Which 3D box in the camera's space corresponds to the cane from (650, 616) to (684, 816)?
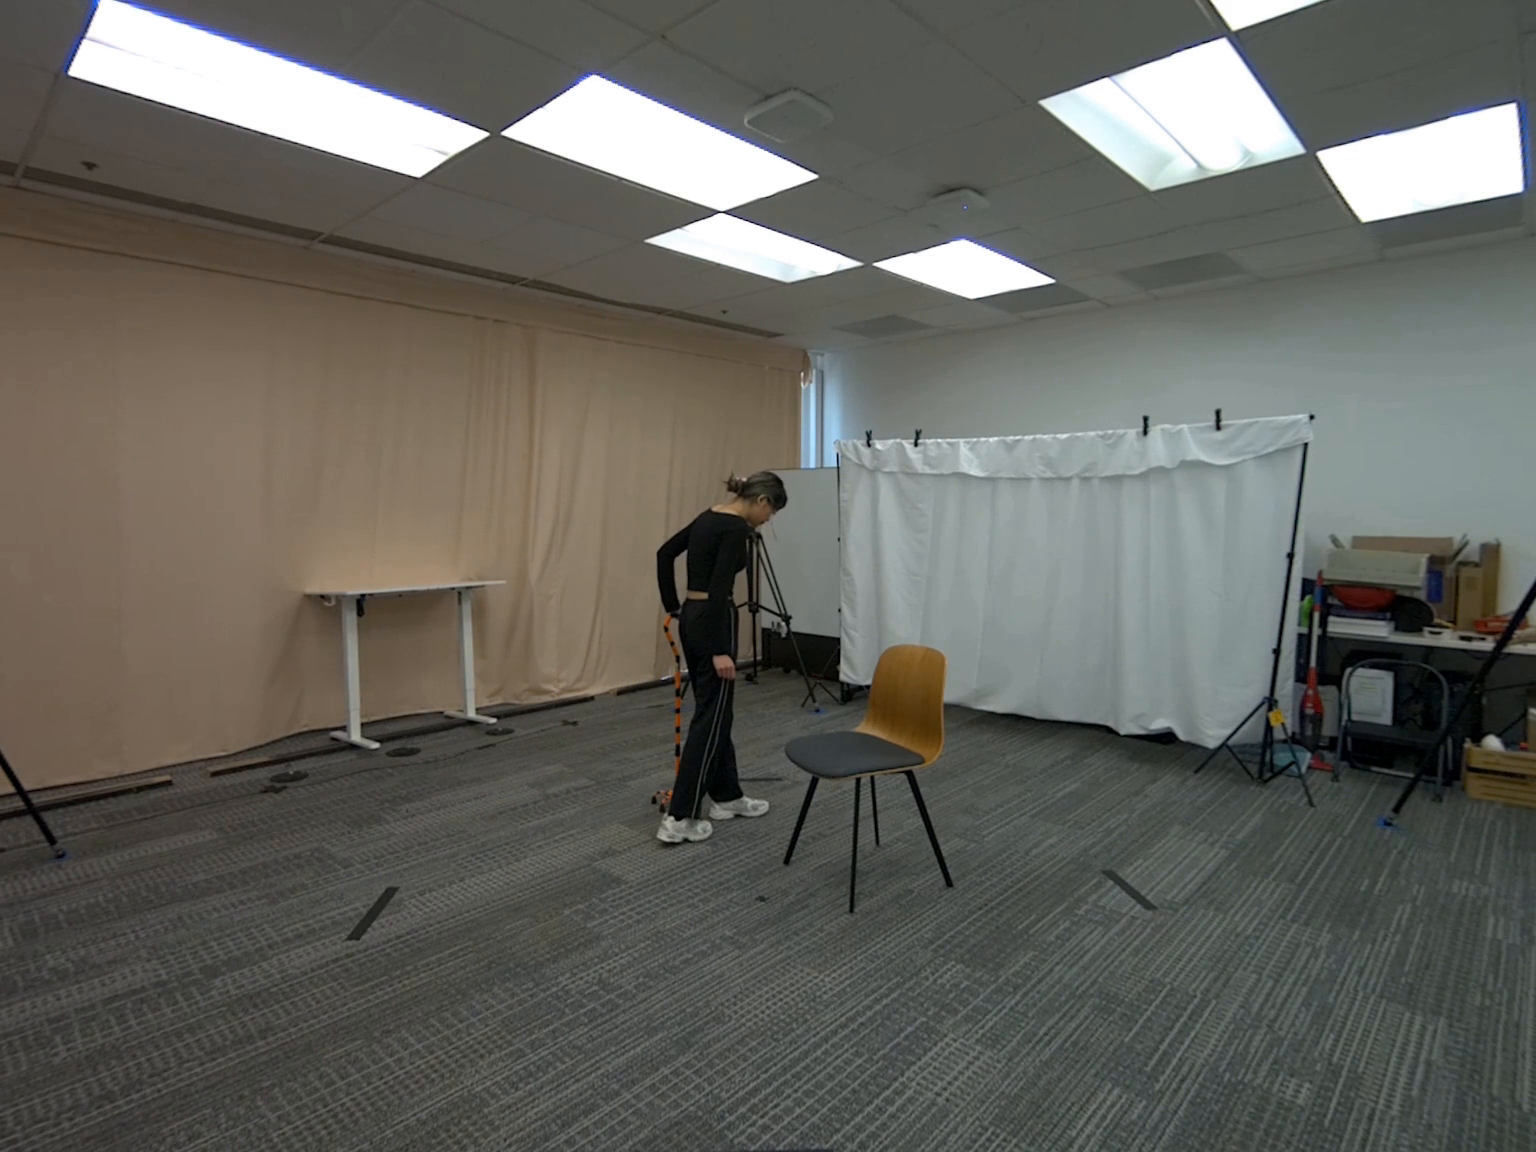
[{"bbox_3d":[-0.425,0.611,3.913,0.201,0.906,0.155,0,3,-25],"label":"cane"}]
